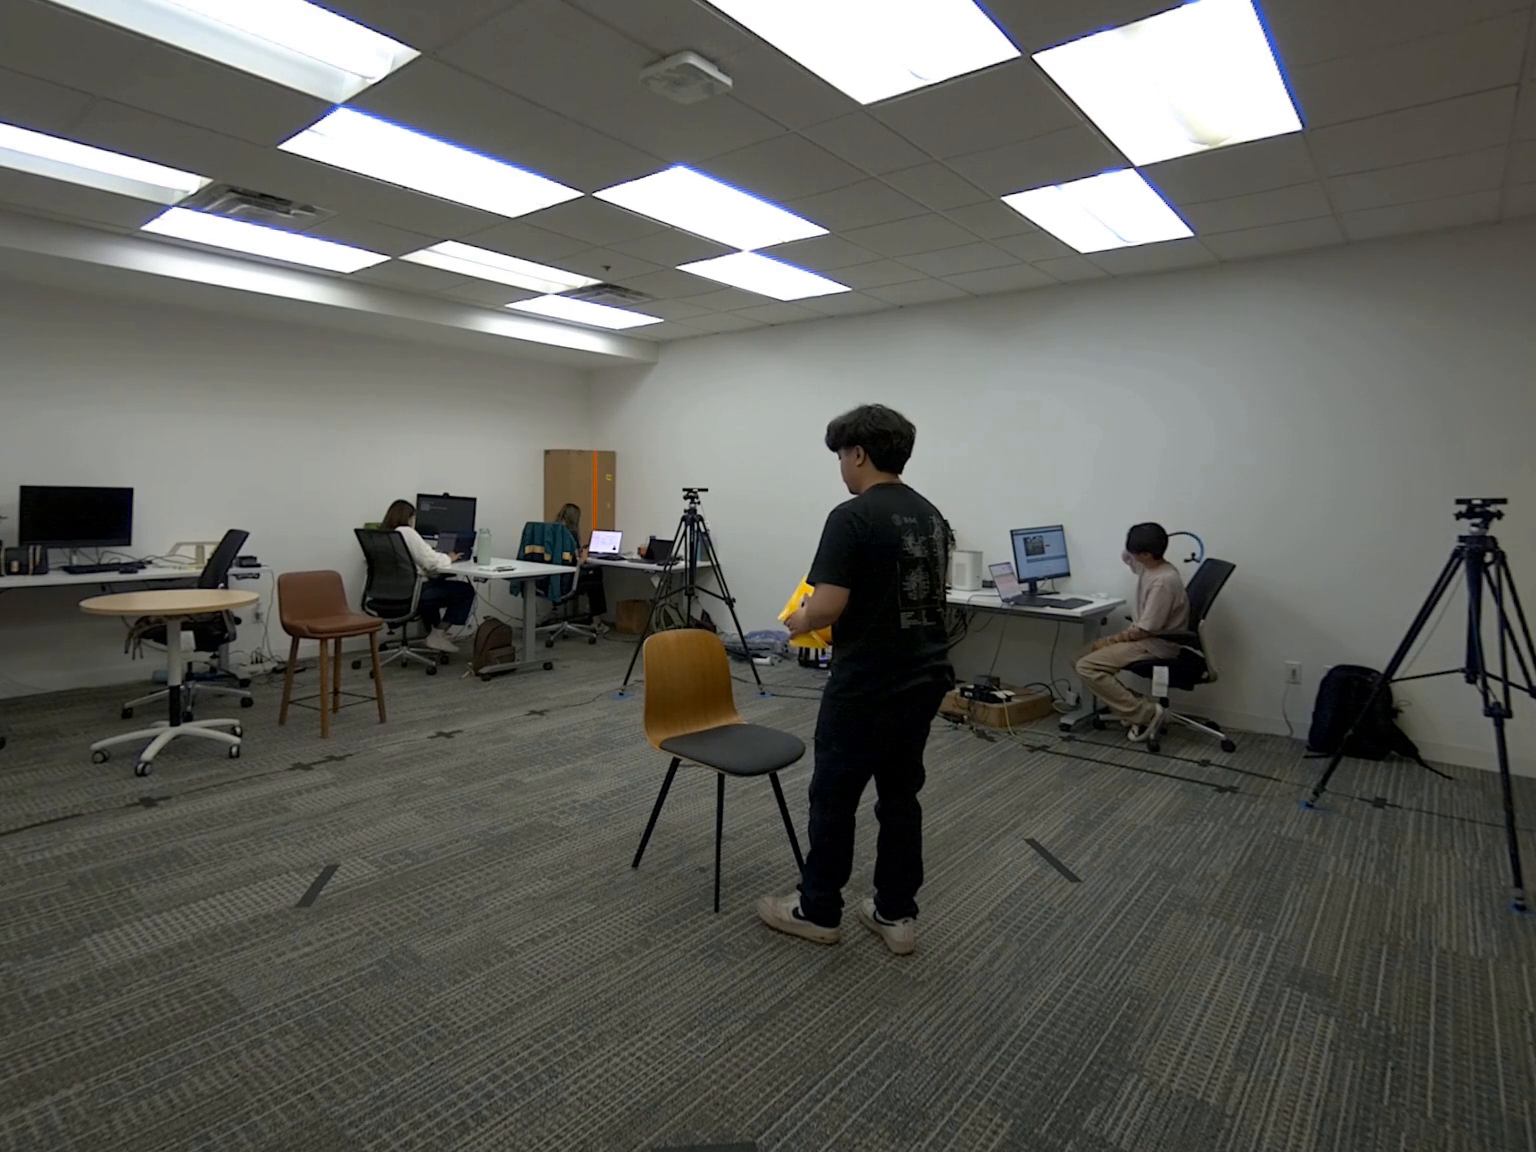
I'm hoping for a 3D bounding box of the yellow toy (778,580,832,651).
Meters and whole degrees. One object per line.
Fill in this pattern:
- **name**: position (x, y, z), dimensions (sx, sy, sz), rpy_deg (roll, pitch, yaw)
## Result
- **yellow toy**: position (0.155, 0.114, 2.834), dimensions (0.198, 0.230, 0.199), rpy_deg (1, 2, -43)
